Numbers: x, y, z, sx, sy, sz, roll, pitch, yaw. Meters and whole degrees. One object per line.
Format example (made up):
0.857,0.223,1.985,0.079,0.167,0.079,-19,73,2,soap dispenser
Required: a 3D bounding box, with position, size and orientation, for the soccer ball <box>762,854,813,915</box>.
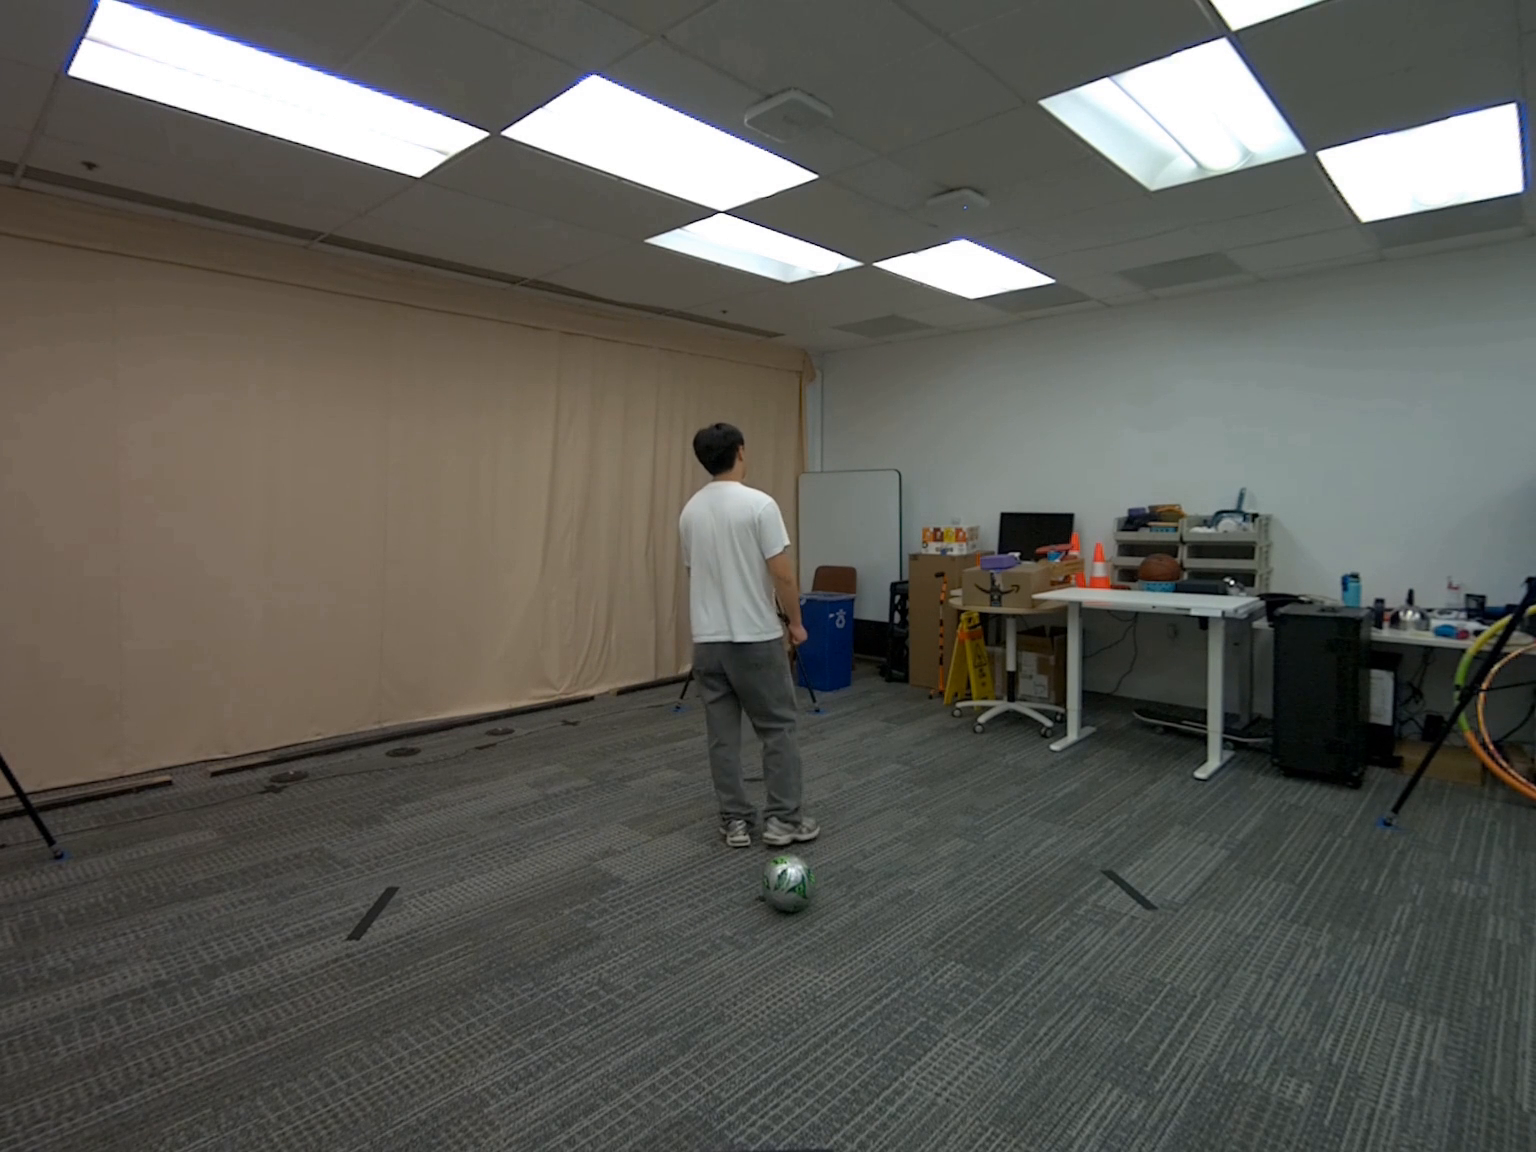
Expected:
0.067,1.049,2.905,0.187,0.187,0.188,0,4,-2,soccer ball
